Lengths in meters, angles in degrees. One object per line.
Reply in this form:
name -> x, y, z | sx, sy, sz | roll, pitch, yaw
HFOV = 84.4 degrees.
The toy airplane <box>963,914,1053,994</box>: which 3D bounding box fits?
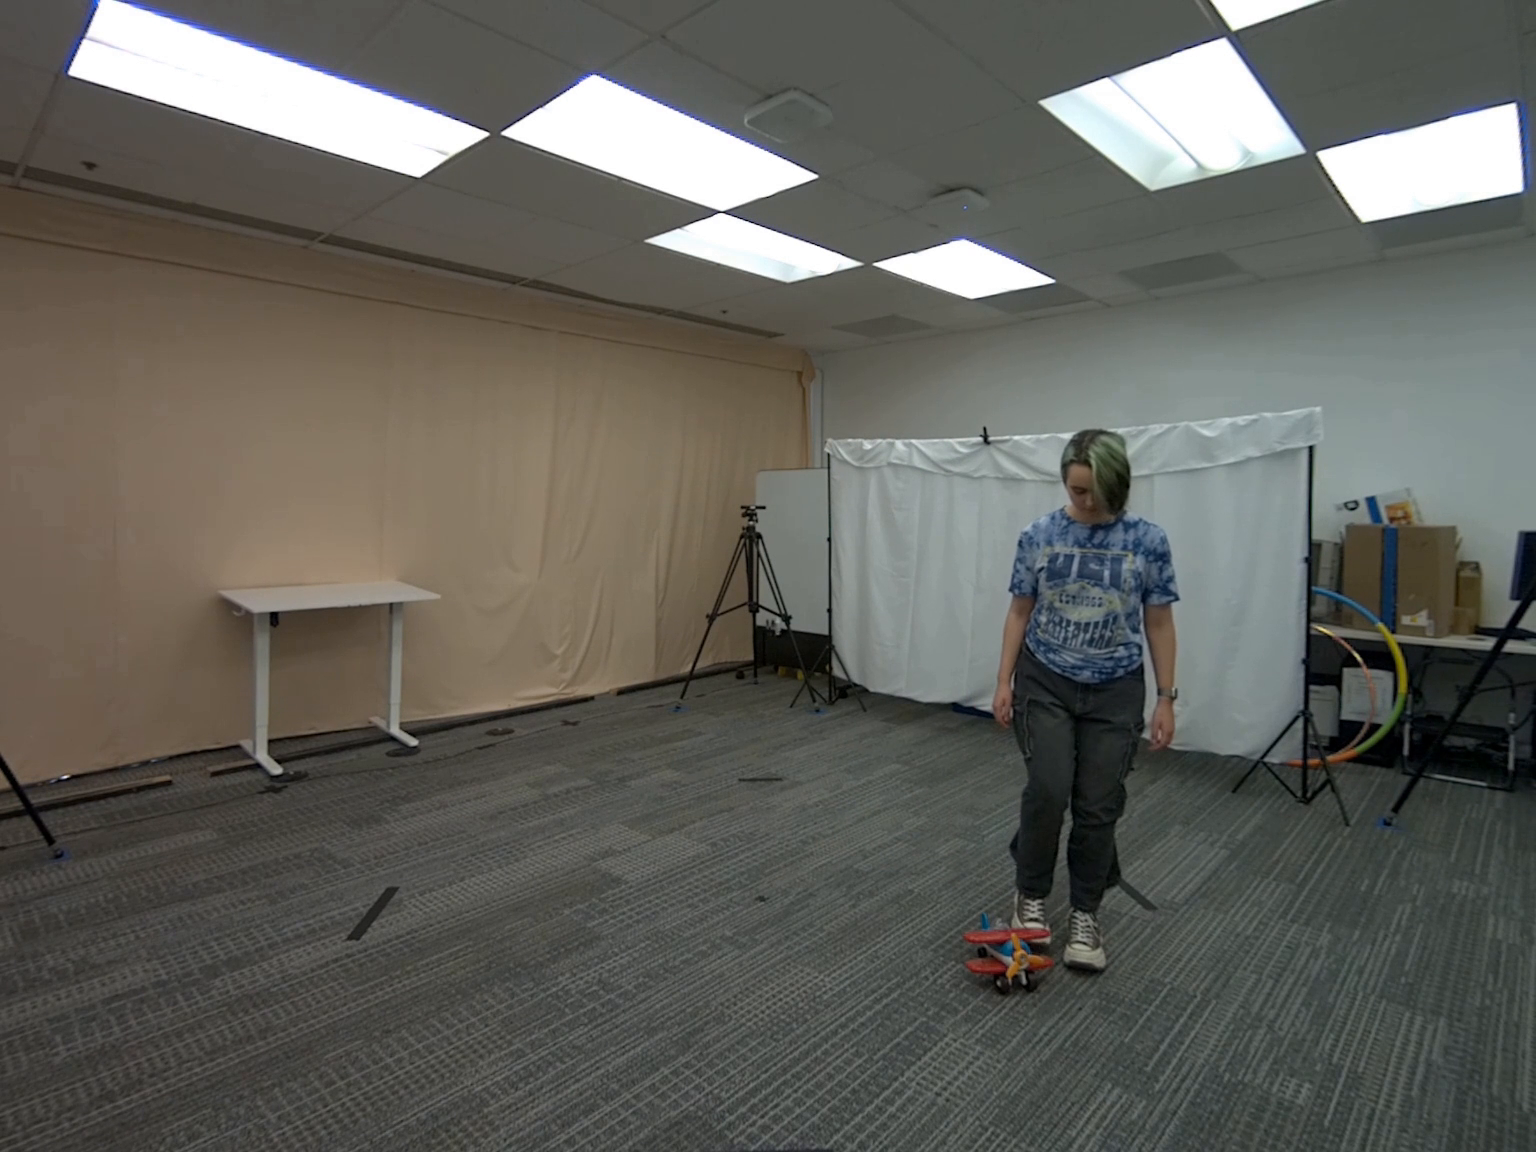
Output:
toy airplane -> 0.680, 1.107, 2.485 | 0.244, 0.156, 0.268 | -4, 6, -38
